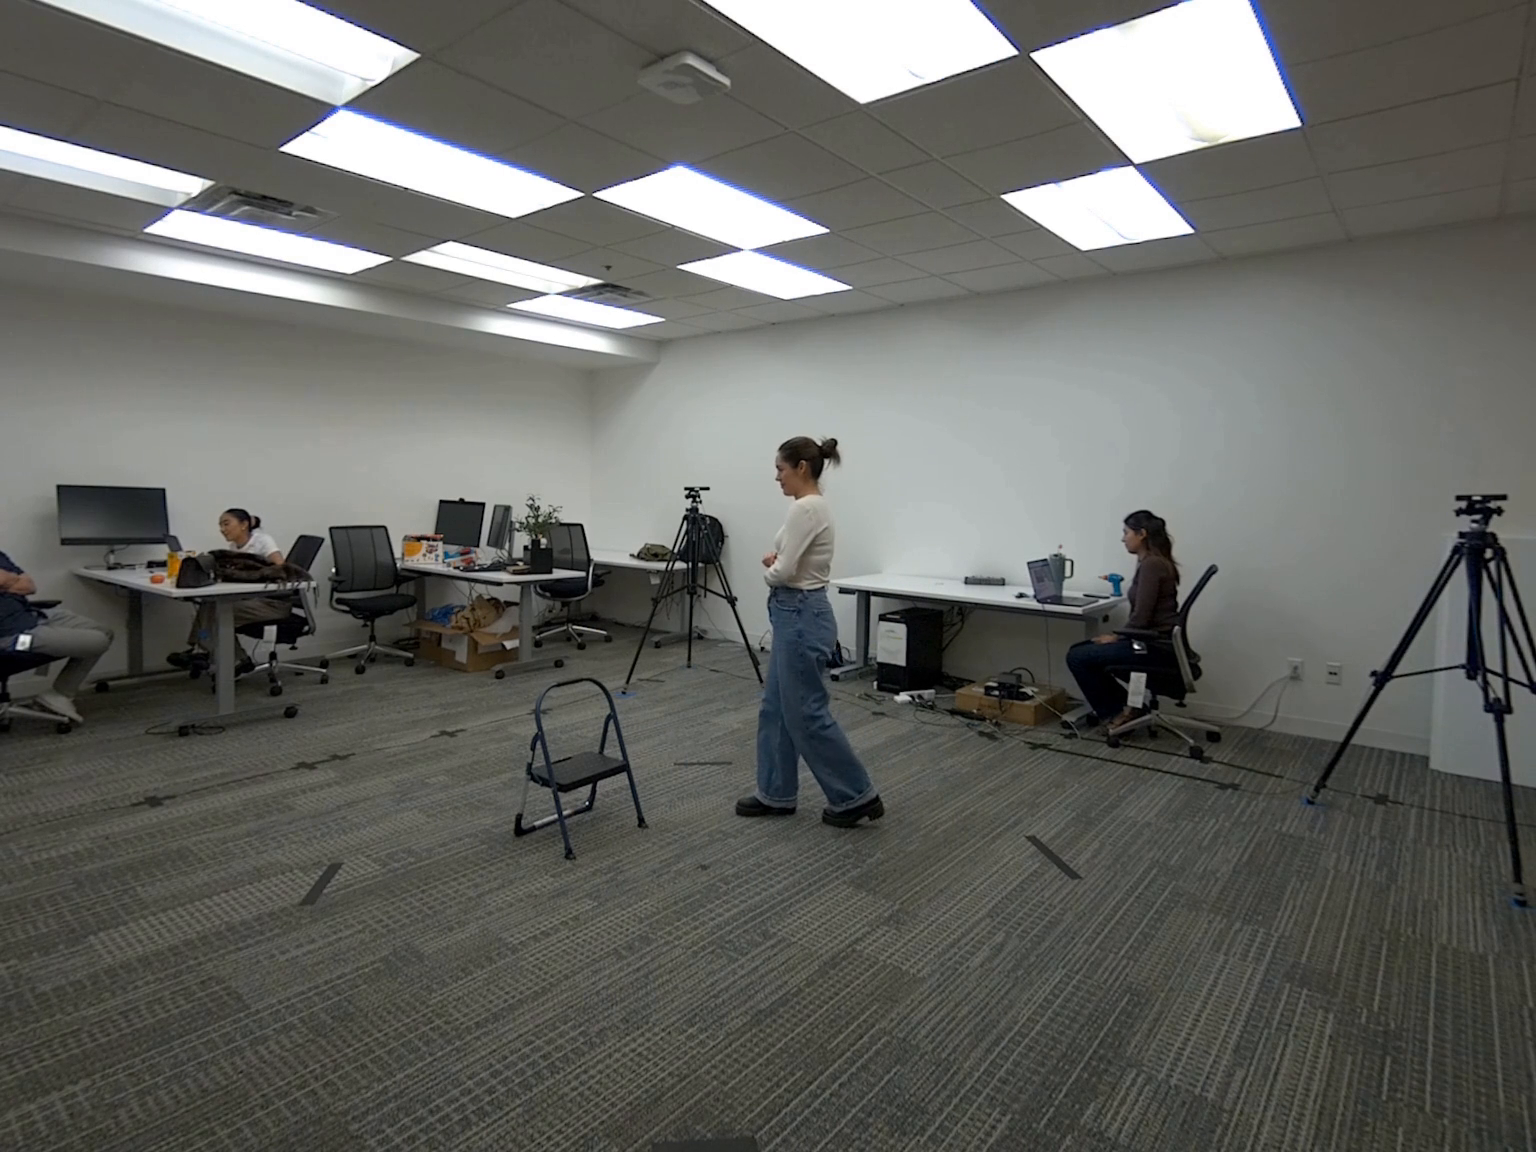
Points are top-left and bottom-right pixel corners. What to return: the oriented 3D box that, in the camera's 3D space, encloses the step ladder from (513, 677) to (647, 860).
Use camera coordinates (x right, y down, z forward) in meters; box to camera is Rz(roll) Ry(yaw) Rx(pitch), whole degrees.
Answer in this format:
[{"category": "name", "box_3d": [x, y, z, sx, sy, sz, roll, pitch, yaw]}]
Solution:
[{"category": "step ladder", "box_3d": [-0.758, 0.725, 3.418, 0.360, 0.605, 0.418, 3, 4, 36]}]
